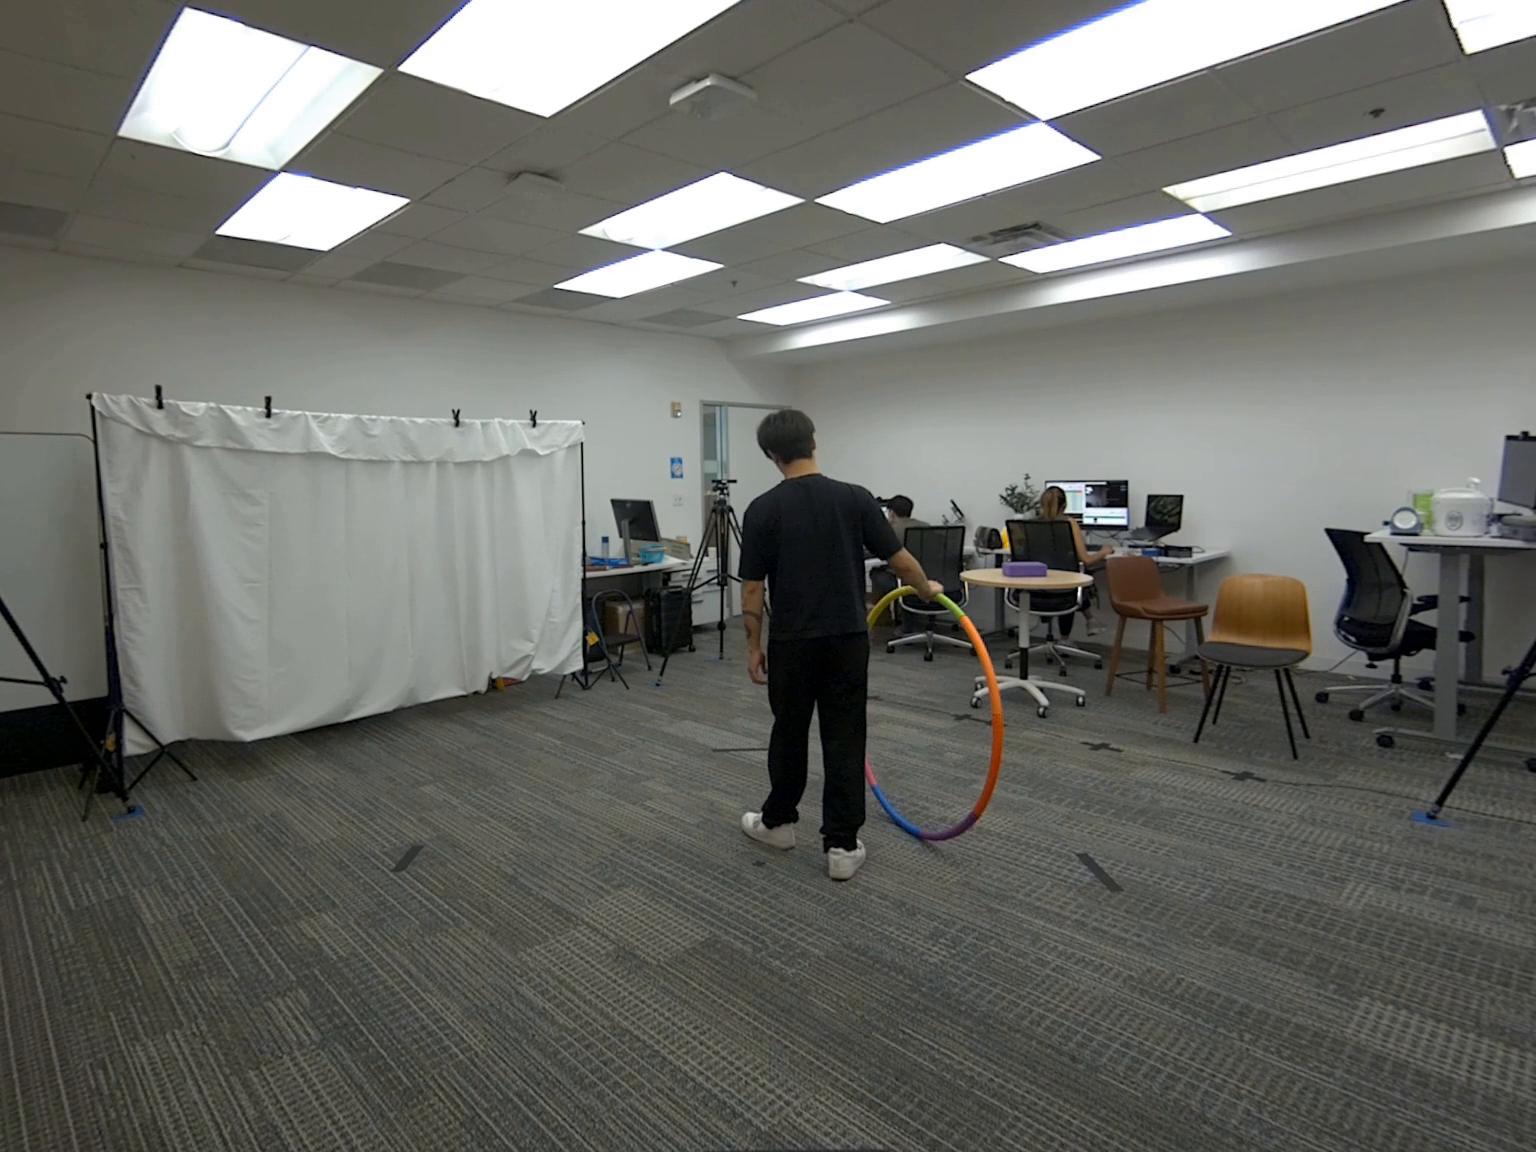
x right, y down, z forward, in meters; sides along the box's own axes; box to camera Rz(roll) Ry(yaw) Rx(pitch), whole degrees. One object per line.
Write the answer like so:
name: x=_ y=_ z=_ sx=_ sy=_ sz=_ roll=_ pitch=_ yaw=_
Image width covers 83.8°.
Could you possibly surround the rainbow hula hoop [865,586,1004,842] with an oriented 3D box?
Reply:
rainbow hula hoop: x=0.578 y=0.526 z=3.366 sx=0.035 sy=0.977 sz=1.001 roll=3 pitch=3 yaw=-23
